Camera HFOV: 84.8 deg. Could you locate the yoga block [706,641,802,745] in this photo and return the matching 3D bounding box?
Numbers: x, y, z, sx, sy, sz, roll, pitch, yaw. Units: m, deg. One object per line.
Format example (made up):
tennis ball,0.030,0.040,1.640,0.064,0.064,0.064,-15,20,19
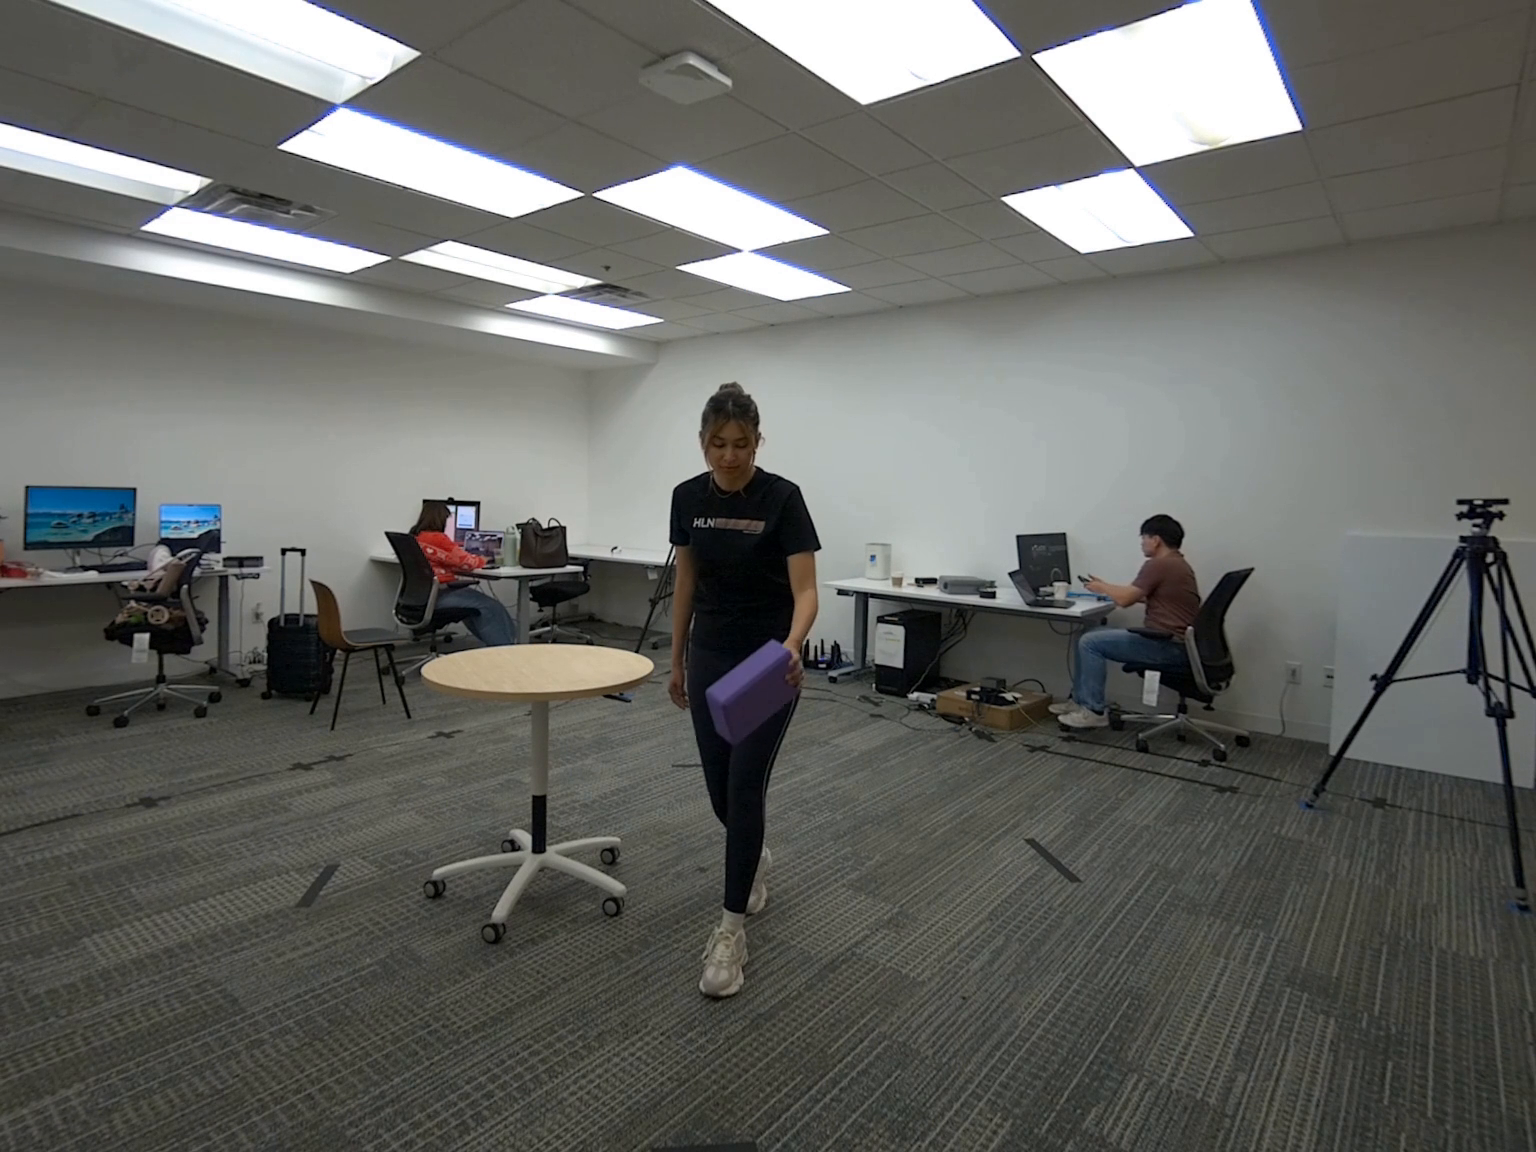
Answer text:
yoga block,-0.040,0.280,2.066,0.227,0.144,0.079,-35,39,-26
